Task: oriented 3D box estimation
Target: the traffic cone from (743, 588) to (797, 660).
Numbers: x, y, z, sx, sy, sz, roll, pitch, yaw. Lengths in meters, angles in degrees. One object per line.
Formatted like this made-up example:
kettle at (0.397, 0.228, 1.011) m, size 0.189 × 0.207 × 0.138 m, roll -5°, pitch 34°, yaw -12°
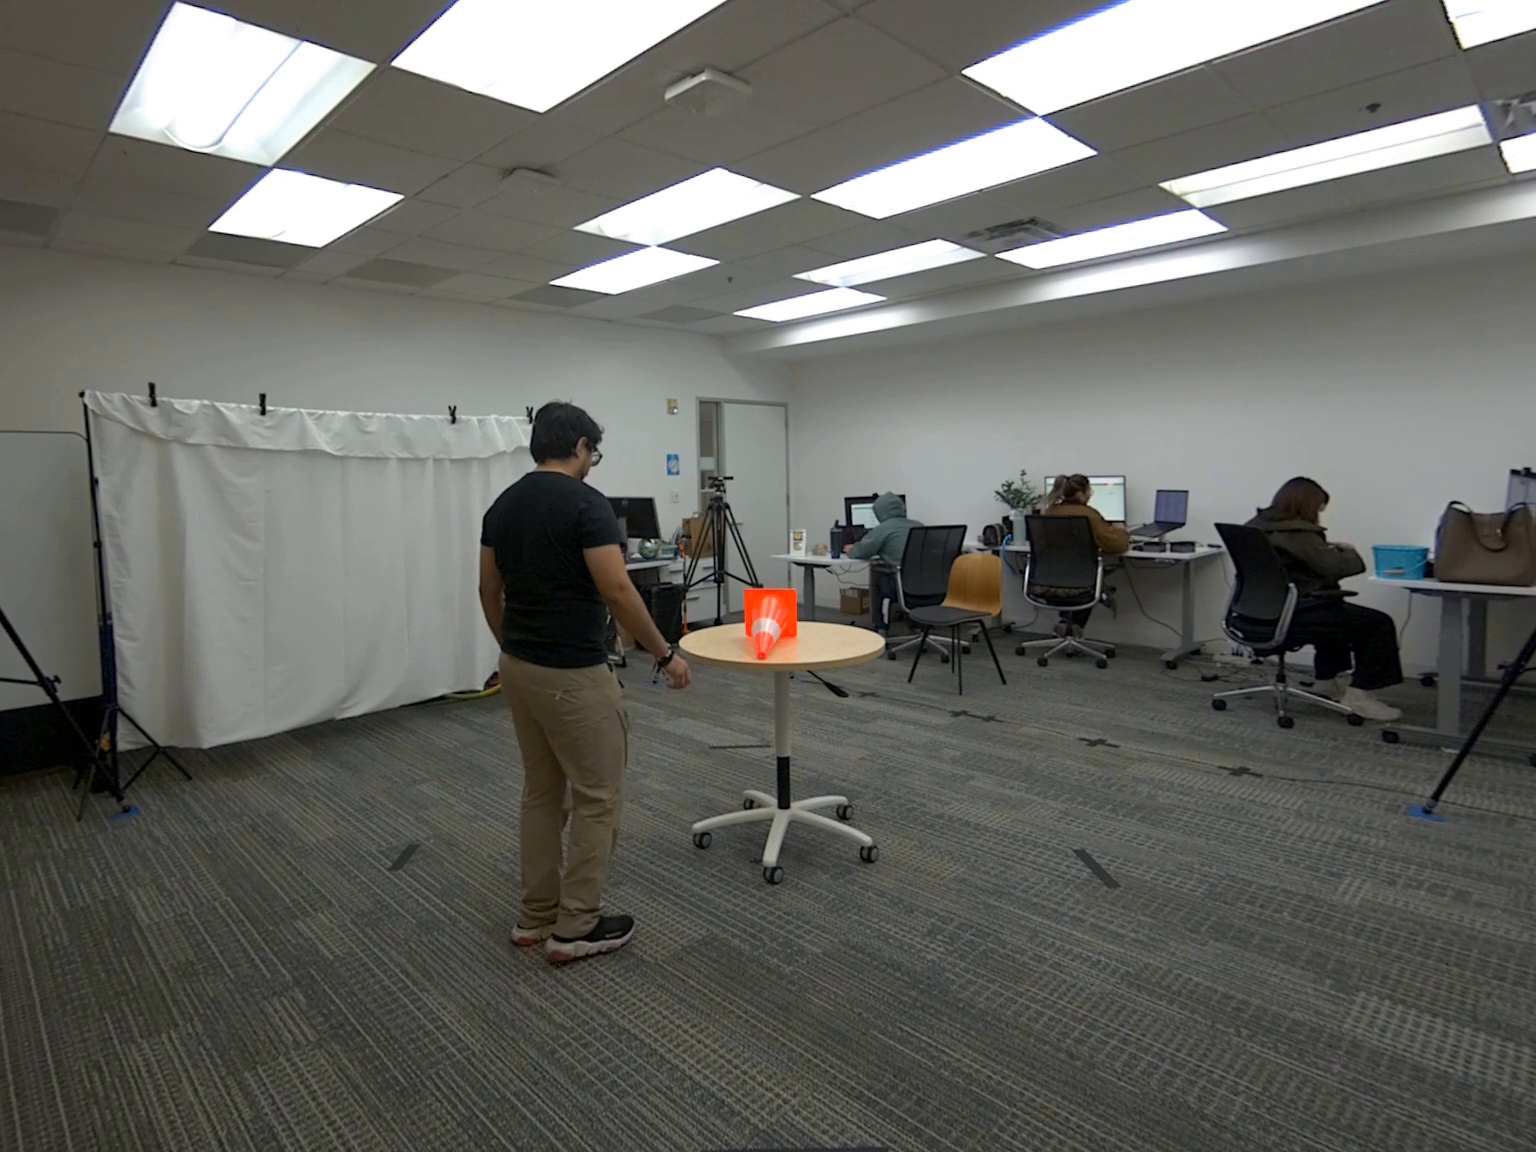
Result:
traffic cone at (0.001, 0.217, 3.045) m, size 0.205 × 0.200 × 0.389 m, roll 7°, pitch 21°, yaw -2°
